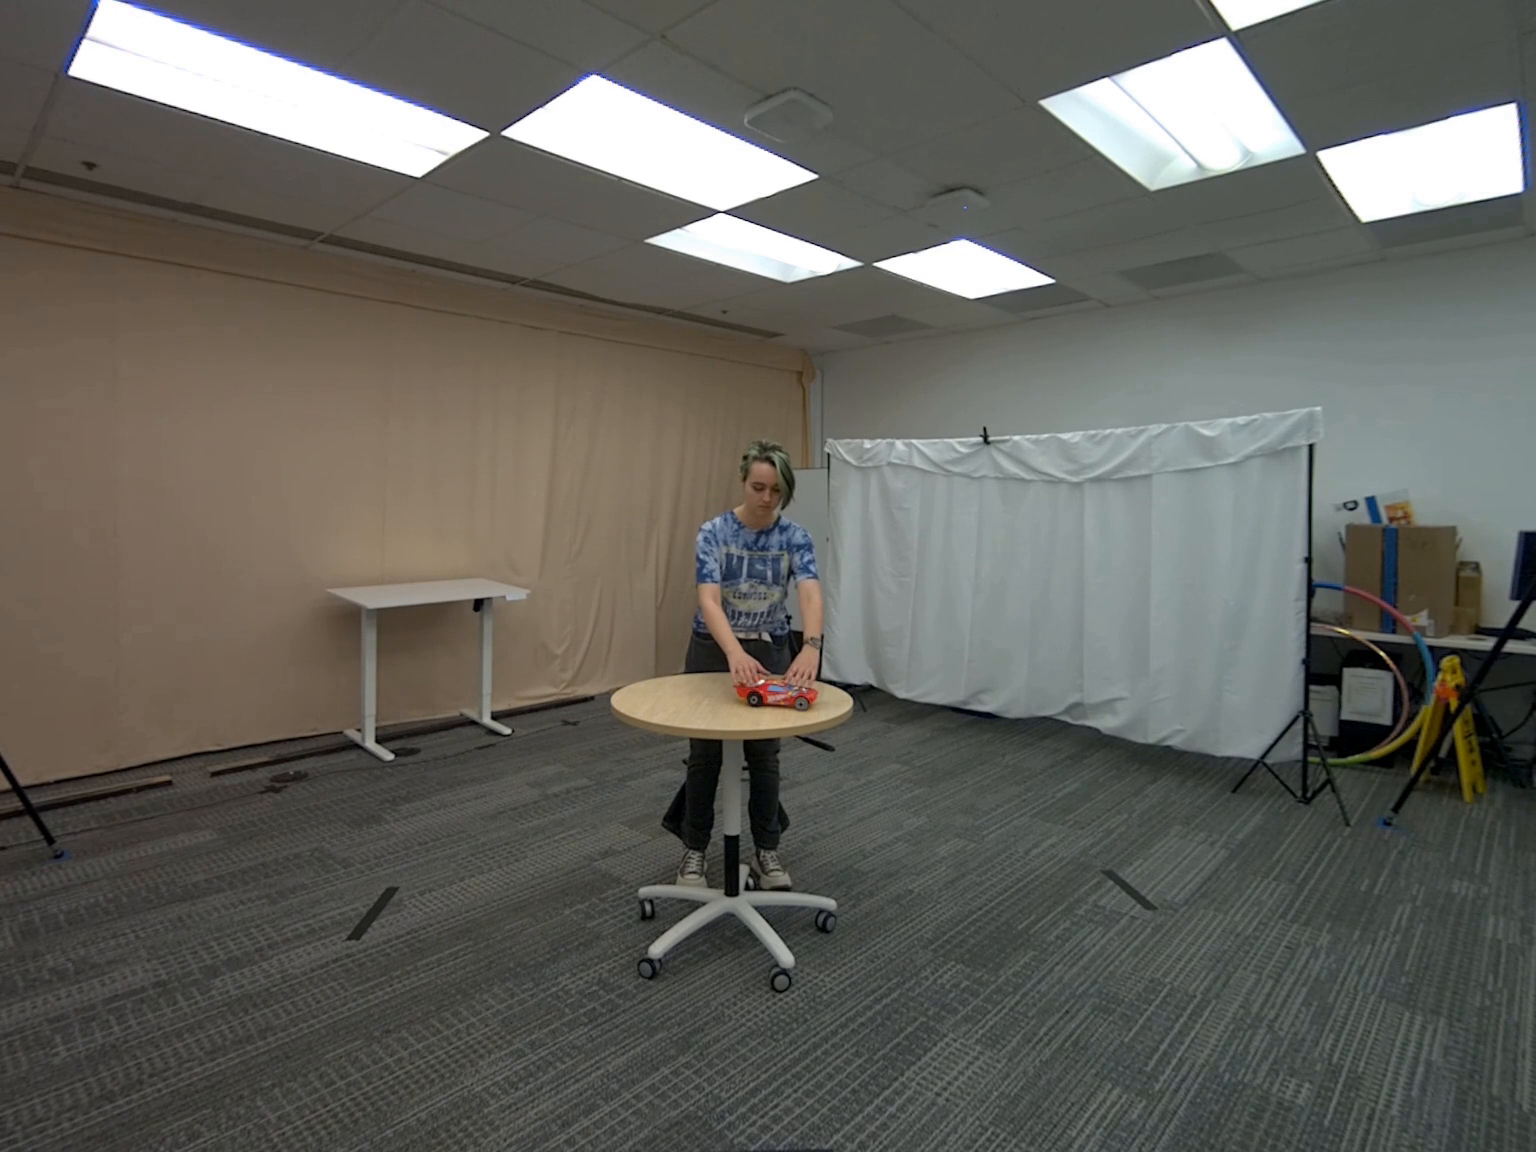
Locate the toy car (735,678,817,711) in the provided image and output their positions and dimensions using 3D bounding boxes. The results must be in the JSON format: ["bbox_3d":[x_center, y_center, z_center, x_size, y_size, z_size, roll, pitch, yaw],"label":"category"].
[{"bbox_3d":[0.023,0.365,2.587,0.259,0.083,0.128,12,9,16],"label":"toy car"}]
